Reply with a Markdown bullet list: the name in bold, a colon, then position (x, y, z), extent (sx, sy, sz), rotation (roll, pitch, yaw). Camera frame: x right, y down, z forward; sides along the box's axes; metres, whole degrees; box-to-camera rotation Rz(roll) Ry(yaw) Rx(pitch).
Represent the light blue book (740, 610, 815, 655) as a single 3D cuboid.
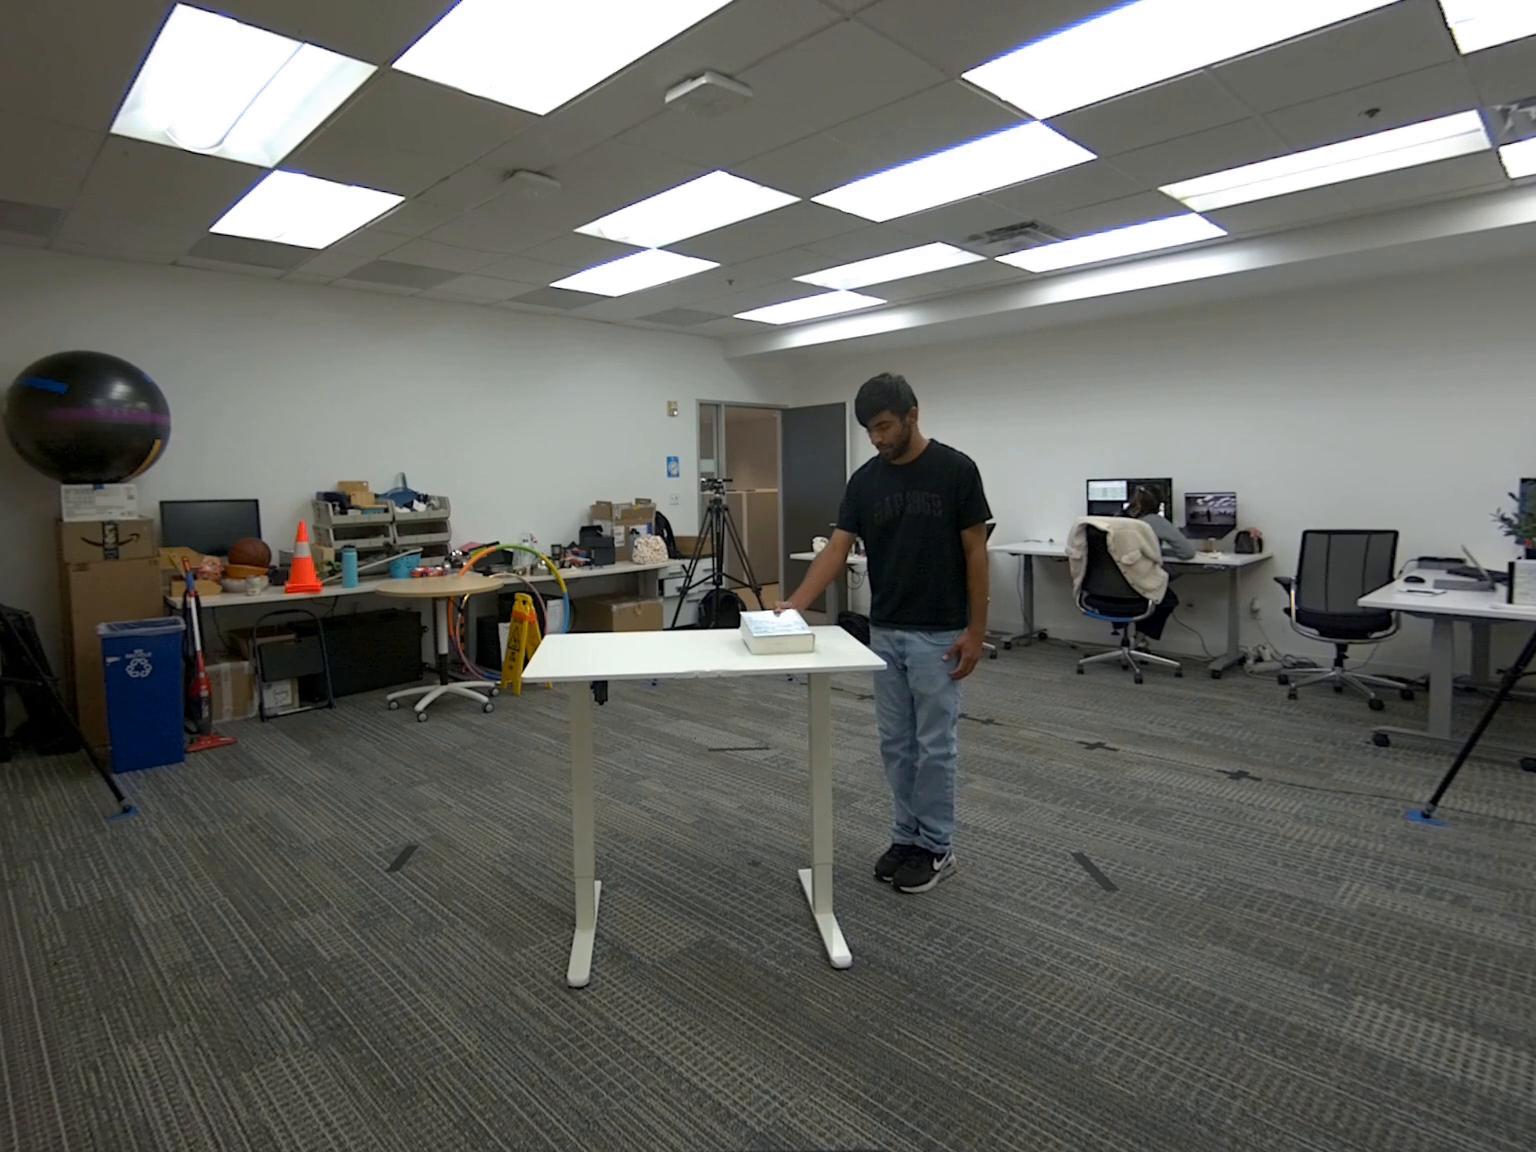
- **light blue book**: position (0.034, 0.174, 2.627), extent (0.190, 0.058, 0.265), rotation (-2, 12, -6)
